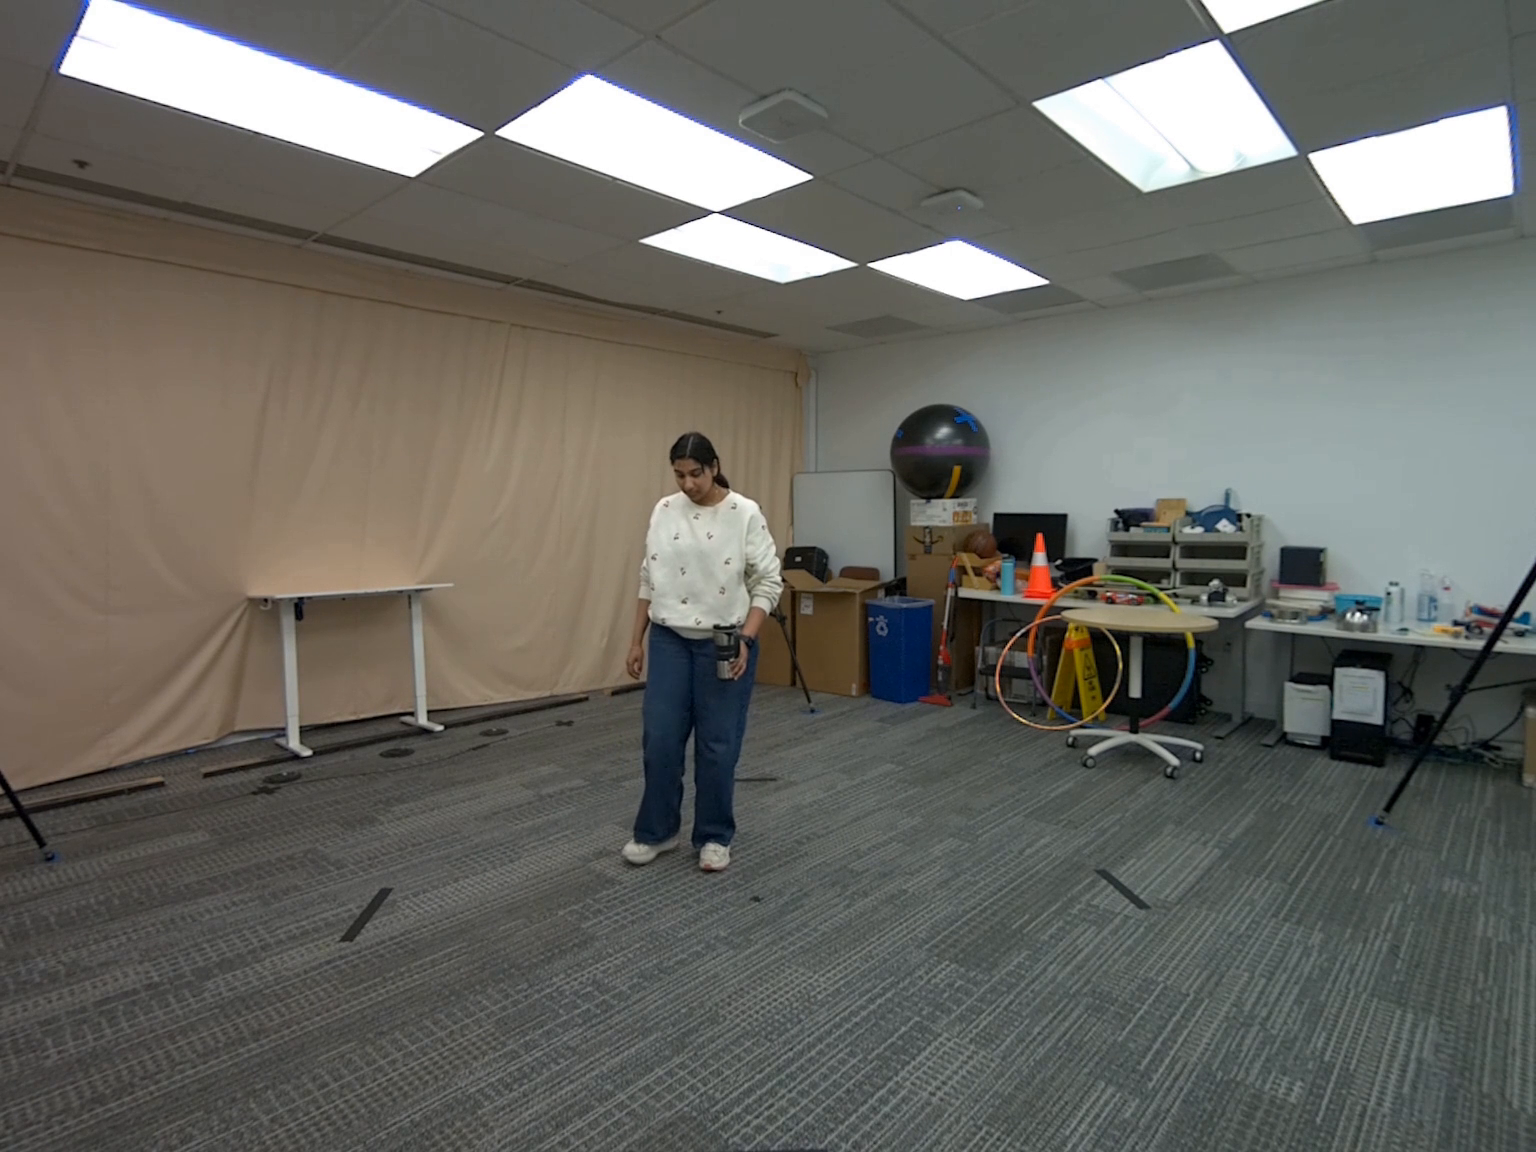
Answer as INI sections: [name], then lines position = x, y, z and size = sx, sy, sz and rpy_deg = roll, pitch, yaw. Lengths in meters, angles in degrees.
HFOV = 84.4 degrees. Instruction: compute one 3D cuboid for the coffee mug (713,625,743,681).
[coffee mug]
position = -0.157, 0.275, 3.023
size = 0.086, 0.202, 0.124
rpy_deg = -1, 3, -16
